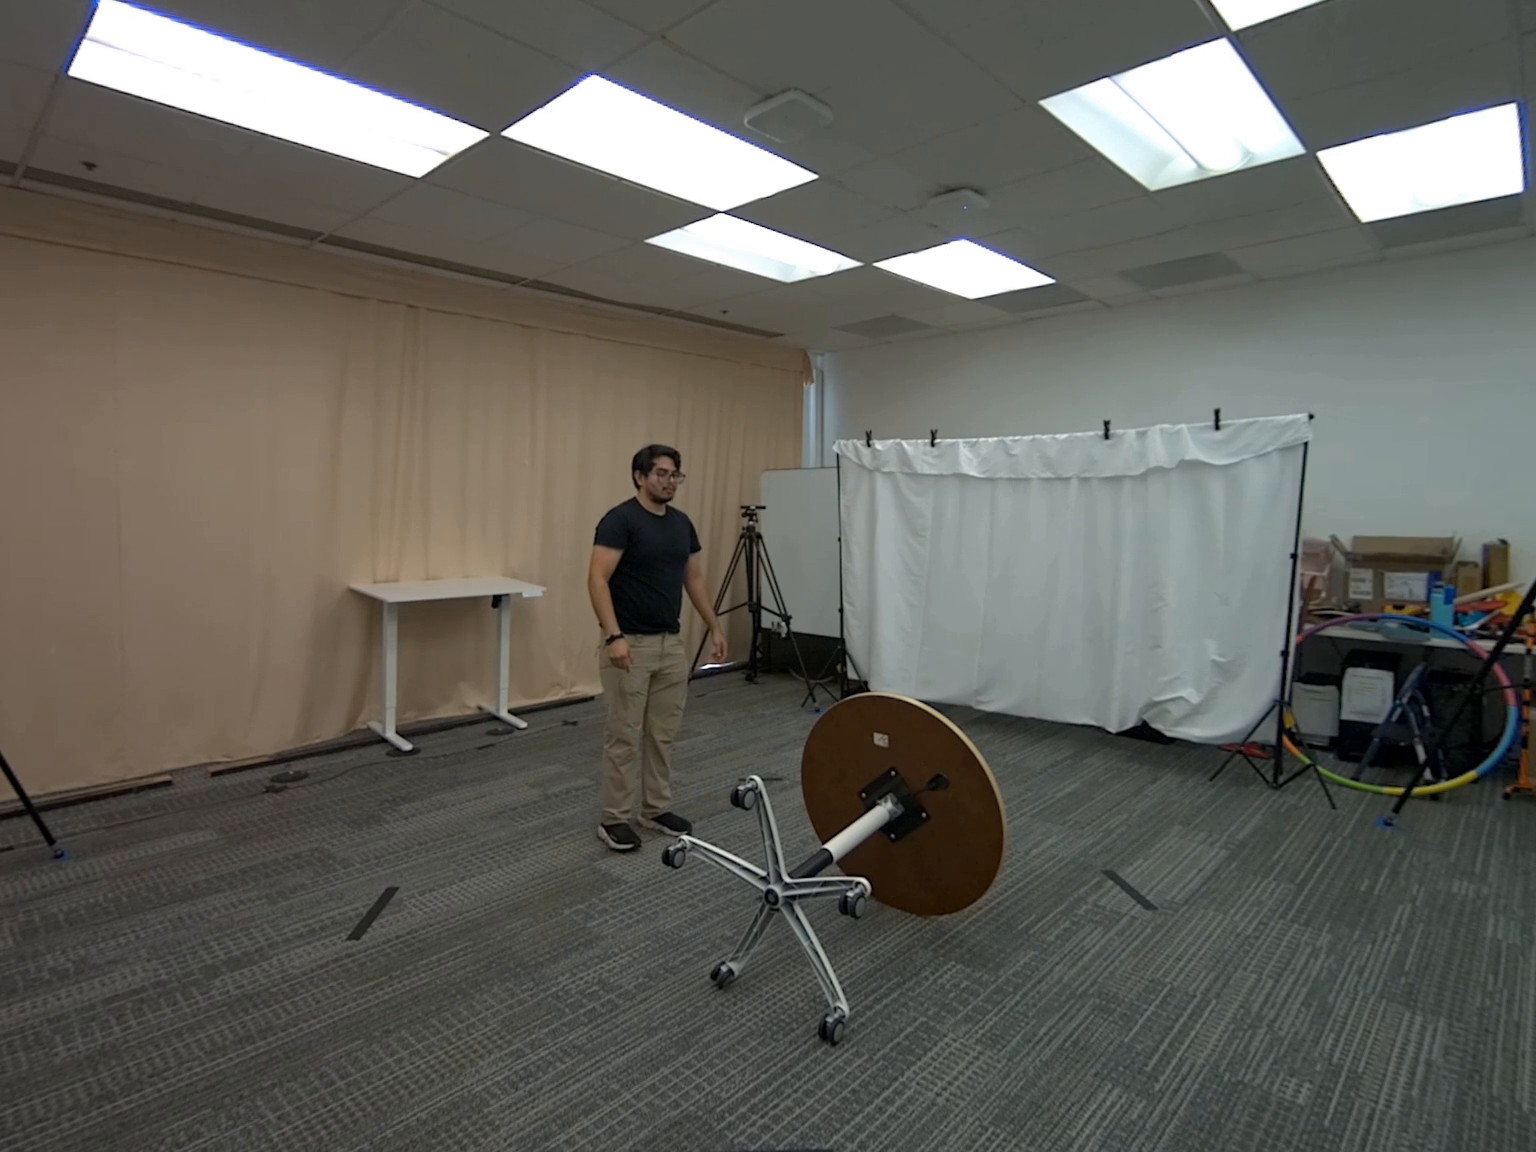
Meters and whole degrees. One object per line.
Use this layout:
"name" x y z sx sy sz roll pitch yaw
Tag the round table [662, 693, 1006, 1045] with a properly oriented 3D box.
"round table" 0.211 0.831 2.563 0.811 0.780 0.766 3 11 38
